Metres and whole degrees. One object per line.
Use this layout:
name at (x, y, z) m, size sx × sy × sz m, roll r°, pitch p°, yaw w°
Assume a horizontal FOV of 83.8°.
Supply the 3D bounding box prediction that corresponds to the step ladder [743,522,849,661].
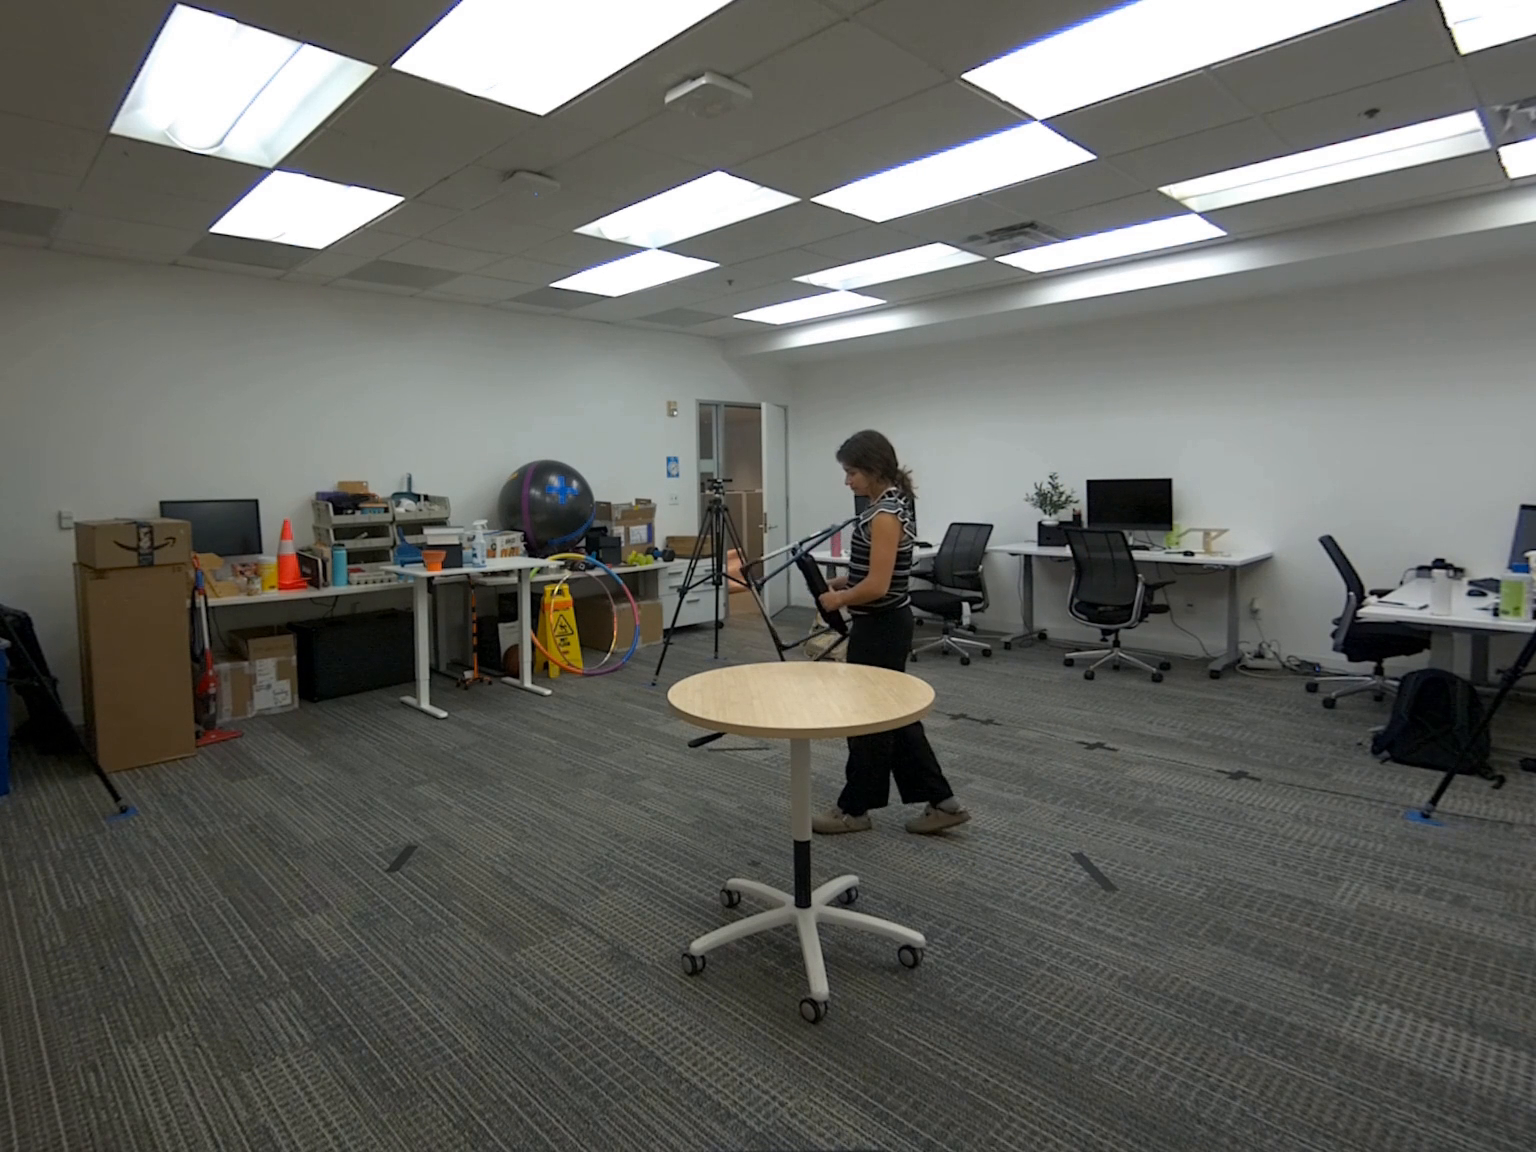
step ladder at (0.277, 0.032, 3.480) m, size 0.603 × 0.423 × 0.357 m, roll -28°, pitch 15°, yaw -9°
